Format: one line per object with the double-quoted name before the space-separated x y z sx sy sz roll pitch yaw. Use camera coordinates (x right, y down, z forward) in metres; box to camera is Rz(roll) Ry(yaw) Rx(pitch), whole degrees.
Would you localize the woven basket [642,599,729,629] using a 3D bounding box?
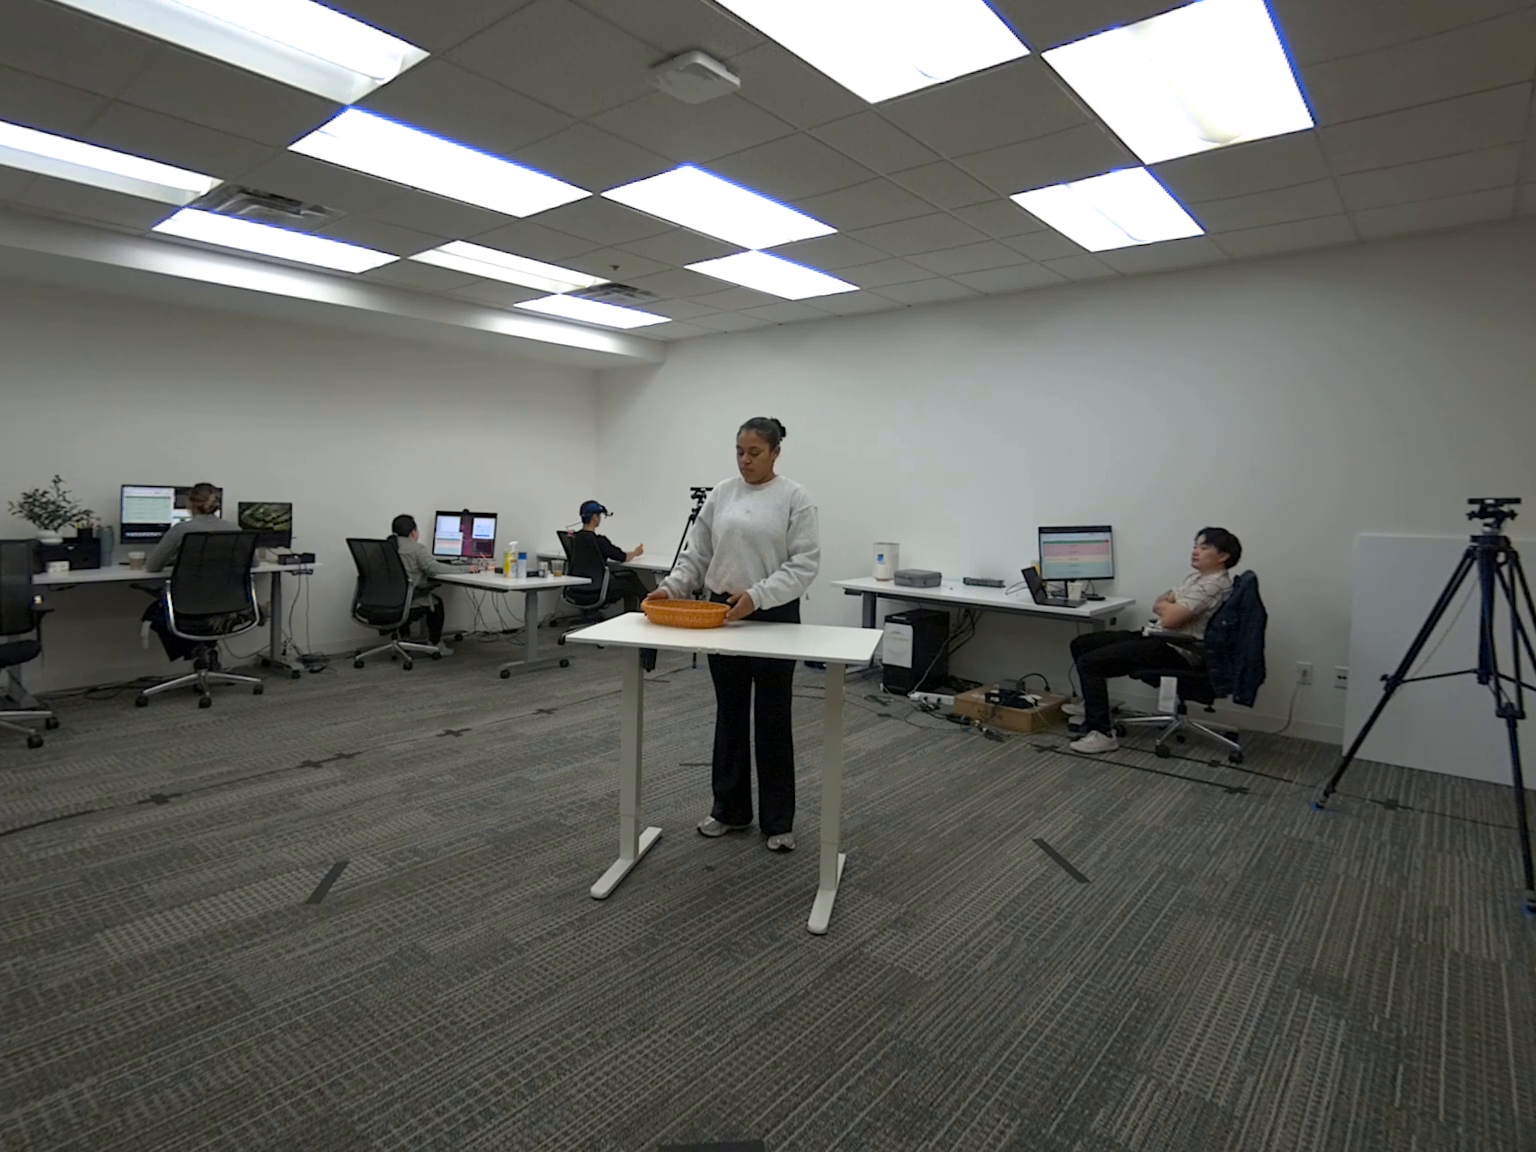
"woven basket" -0.314 0.139 3.182 0.361 0.073 0.246 5 6 31
